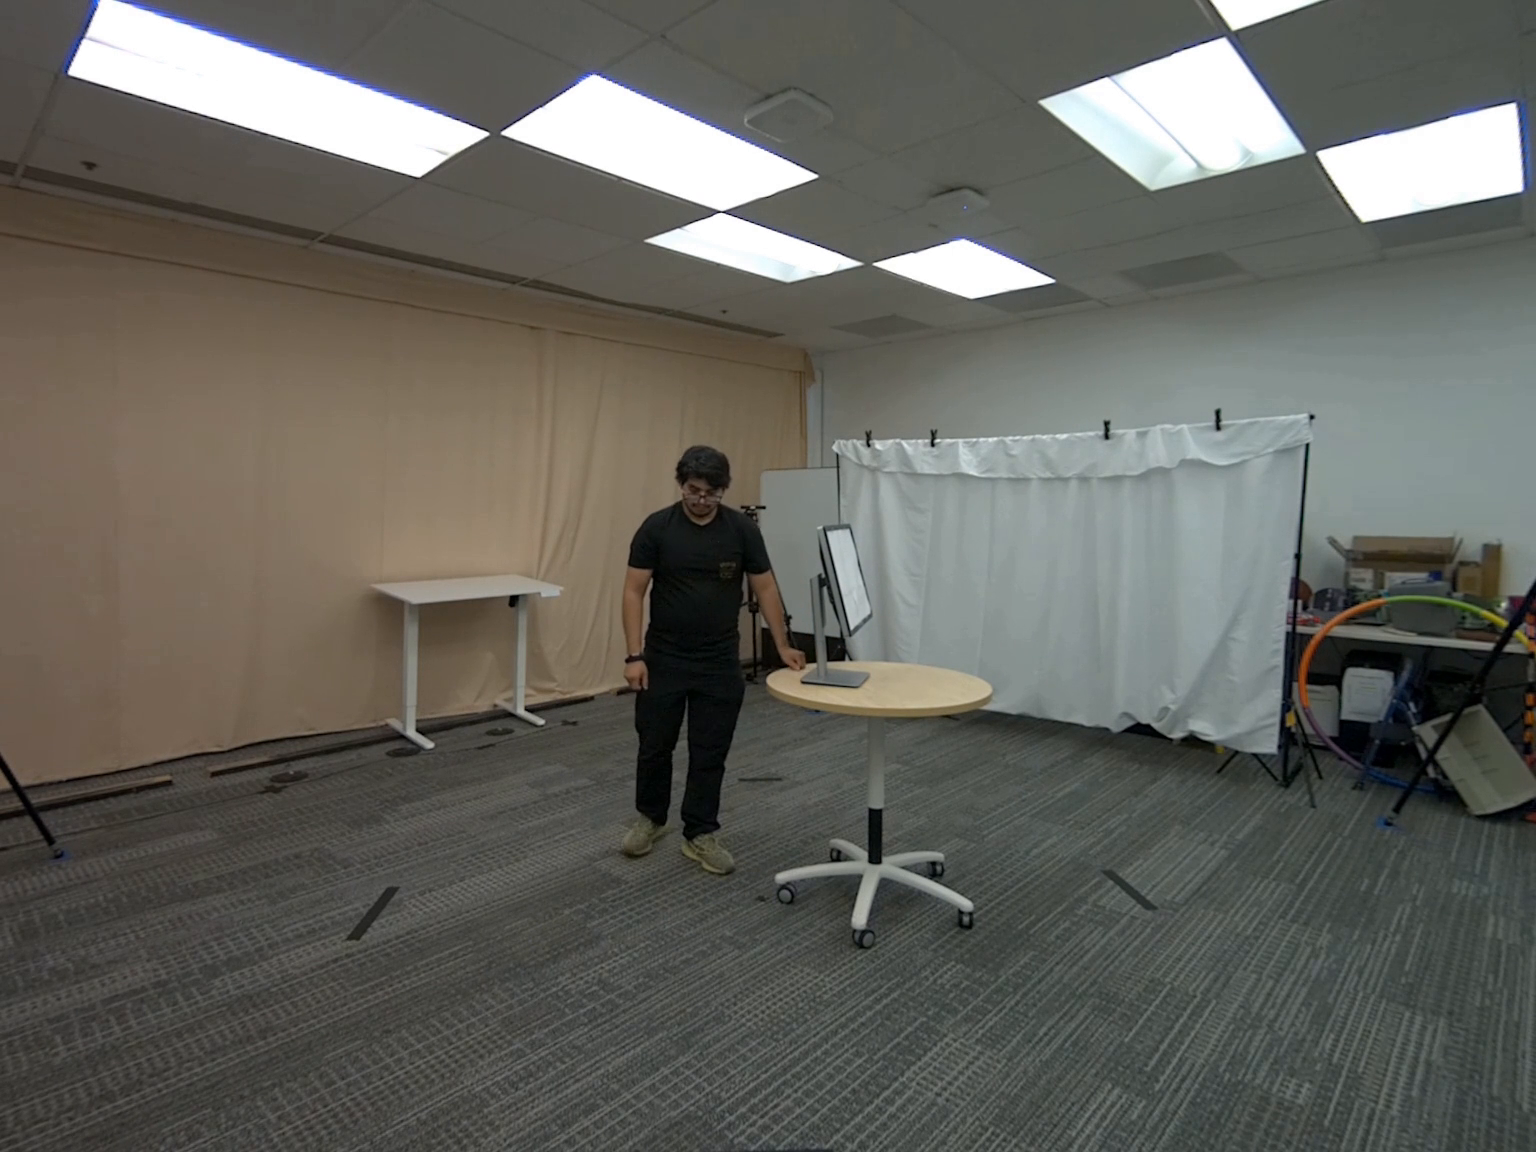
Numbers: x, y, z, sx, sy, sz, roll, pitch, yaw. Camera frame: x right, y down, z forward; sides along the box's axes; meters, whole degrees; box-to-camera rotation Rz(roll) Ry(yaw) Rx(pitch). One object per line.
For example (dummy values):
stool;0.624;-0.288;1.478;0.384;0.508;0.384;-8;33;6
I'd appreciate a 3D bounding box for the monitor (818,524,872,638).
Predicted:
monitor;0.221;0.097;2.962;0.214;0.553;0.556;-5;2;16
